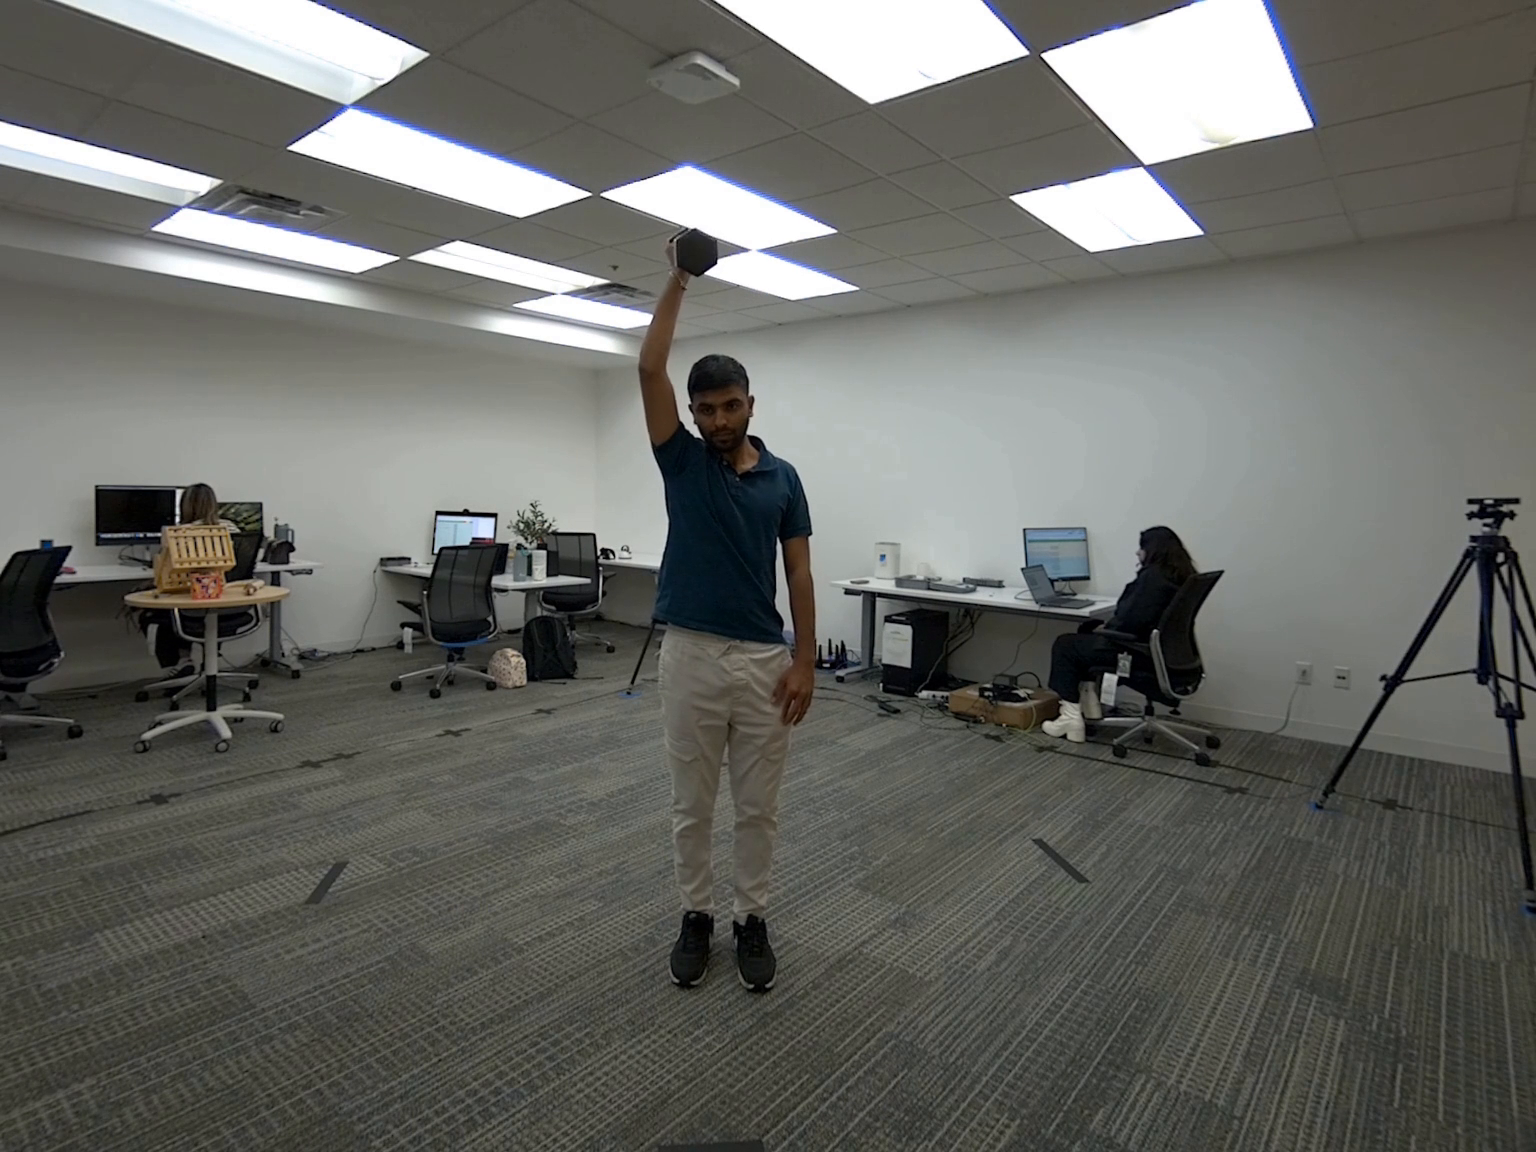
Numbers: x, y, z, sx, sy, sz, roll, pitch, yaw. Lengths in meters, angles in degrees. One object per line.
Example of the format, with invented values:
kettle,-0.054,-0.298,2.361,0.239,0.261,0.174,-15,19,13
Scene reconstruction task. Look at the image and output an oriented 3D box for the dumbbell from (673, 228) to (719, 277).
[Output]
dumbbell,-0.212,-0.871,2.291,0.121,0.108,0.301,17,18,-14
